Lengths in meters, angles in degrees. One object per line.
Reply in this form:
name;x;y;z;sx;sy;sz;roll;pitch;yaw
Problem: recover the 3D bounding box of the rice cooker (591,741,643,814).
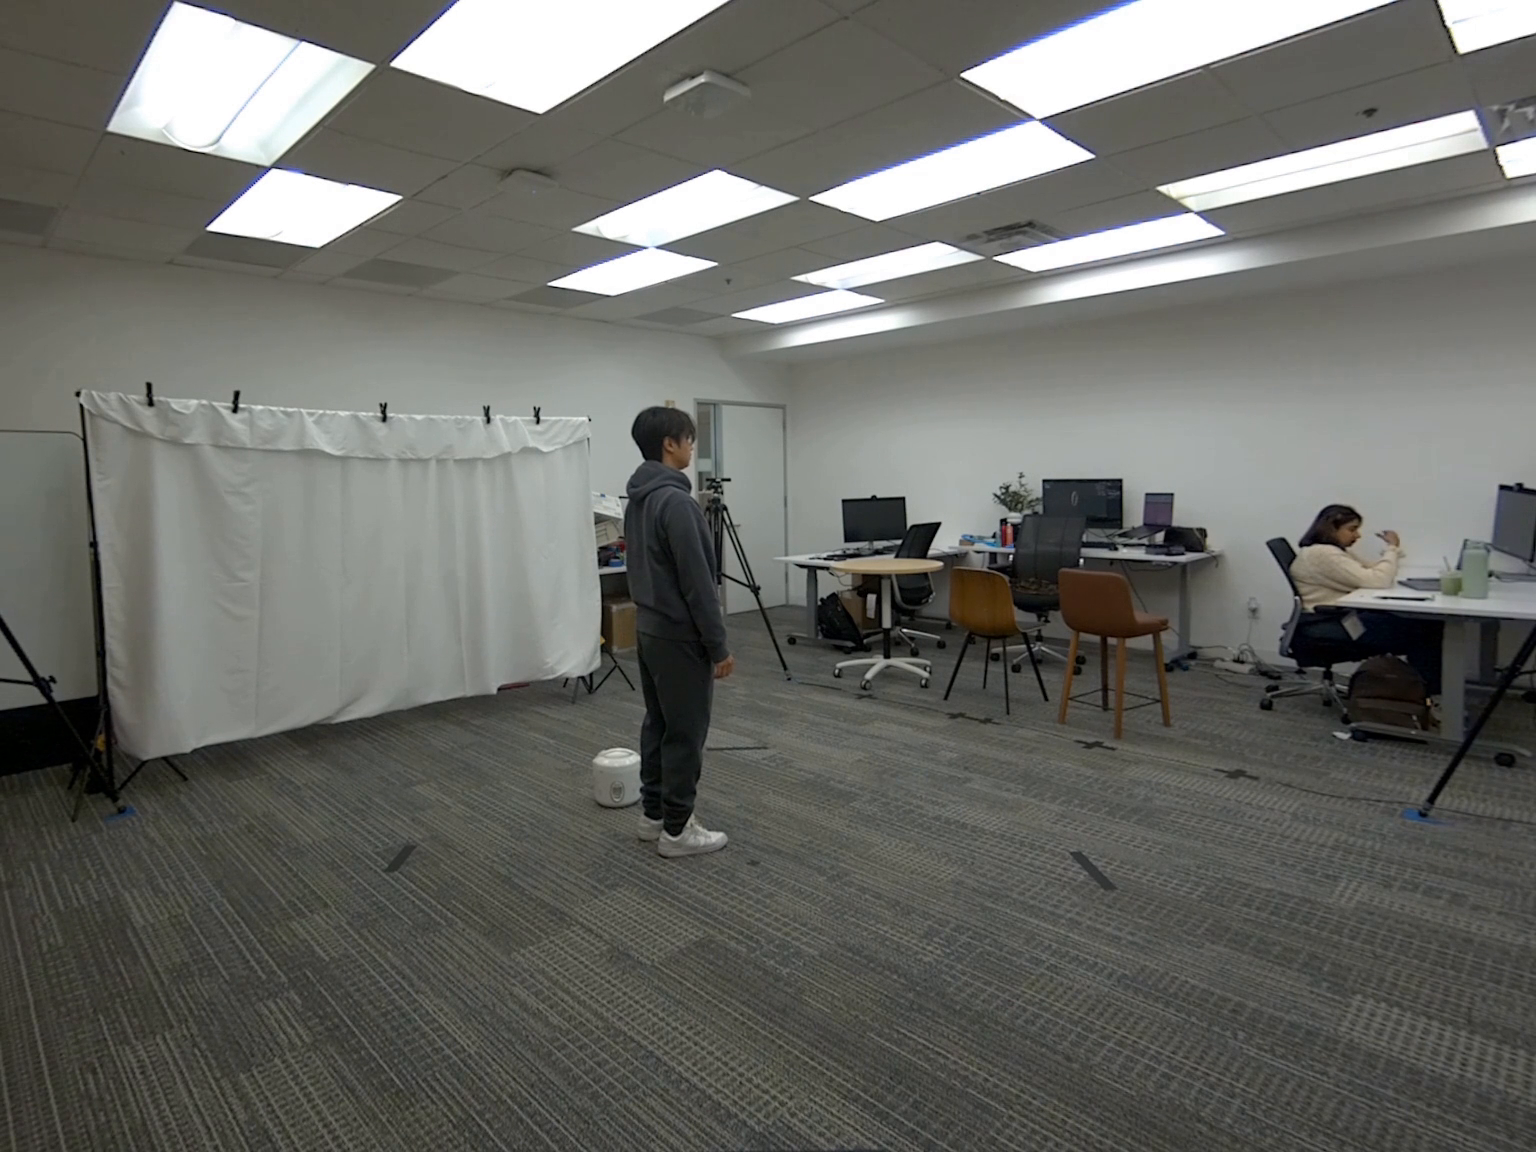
rice cooker;-0.649;0.870;3.731;0.219;0.232;0.219;-1;4;-7
